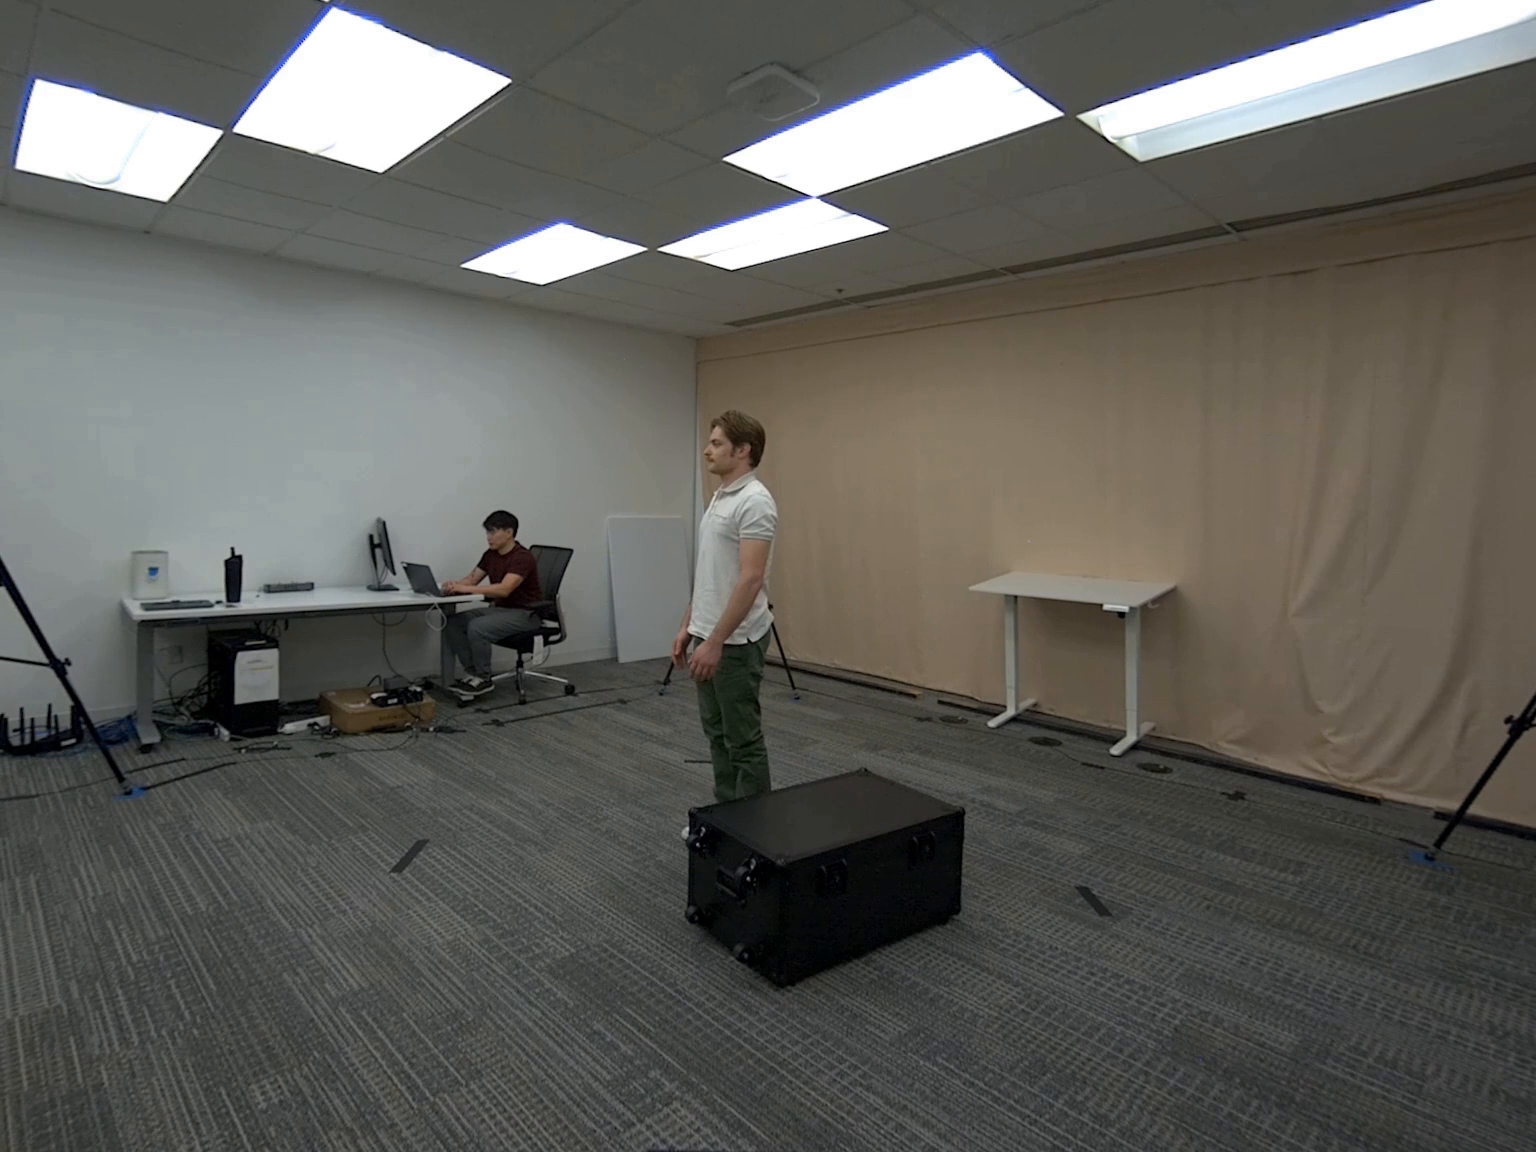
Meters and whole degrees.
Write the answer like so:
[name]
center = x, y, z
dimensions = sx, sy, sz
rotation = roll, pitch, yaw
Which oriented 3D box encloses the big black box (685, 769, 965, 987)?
[big black box]
center = 0.158, 0.947, 2.753
dimensions = 0.849, 0.384, 0.537
rotation = -2, 7, -36
